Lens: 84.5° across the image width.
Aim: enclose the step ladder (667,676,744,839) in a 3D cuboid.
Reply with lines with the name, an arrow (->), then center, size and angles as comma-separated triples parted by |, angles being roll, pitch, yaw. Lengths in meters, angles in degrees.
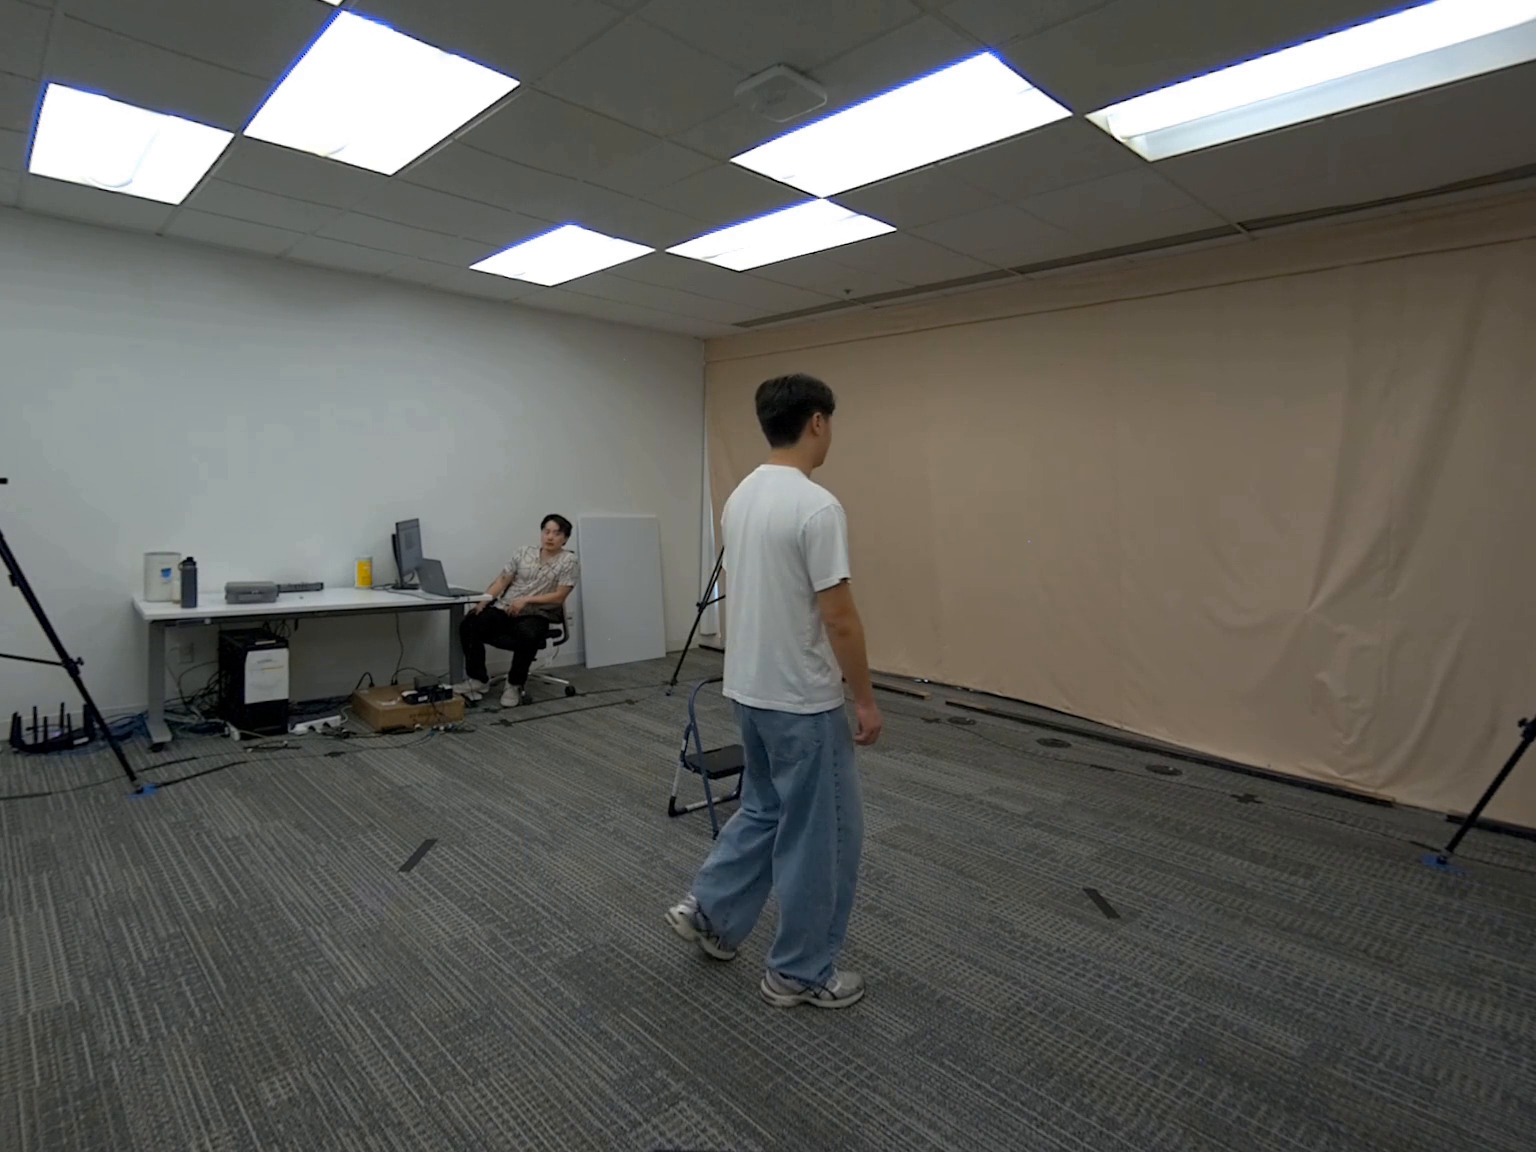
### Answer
step ladder -> -0.173, 0.752, 3.671 | 0.420, 0.605, 0.358 | -1, 5, -44
